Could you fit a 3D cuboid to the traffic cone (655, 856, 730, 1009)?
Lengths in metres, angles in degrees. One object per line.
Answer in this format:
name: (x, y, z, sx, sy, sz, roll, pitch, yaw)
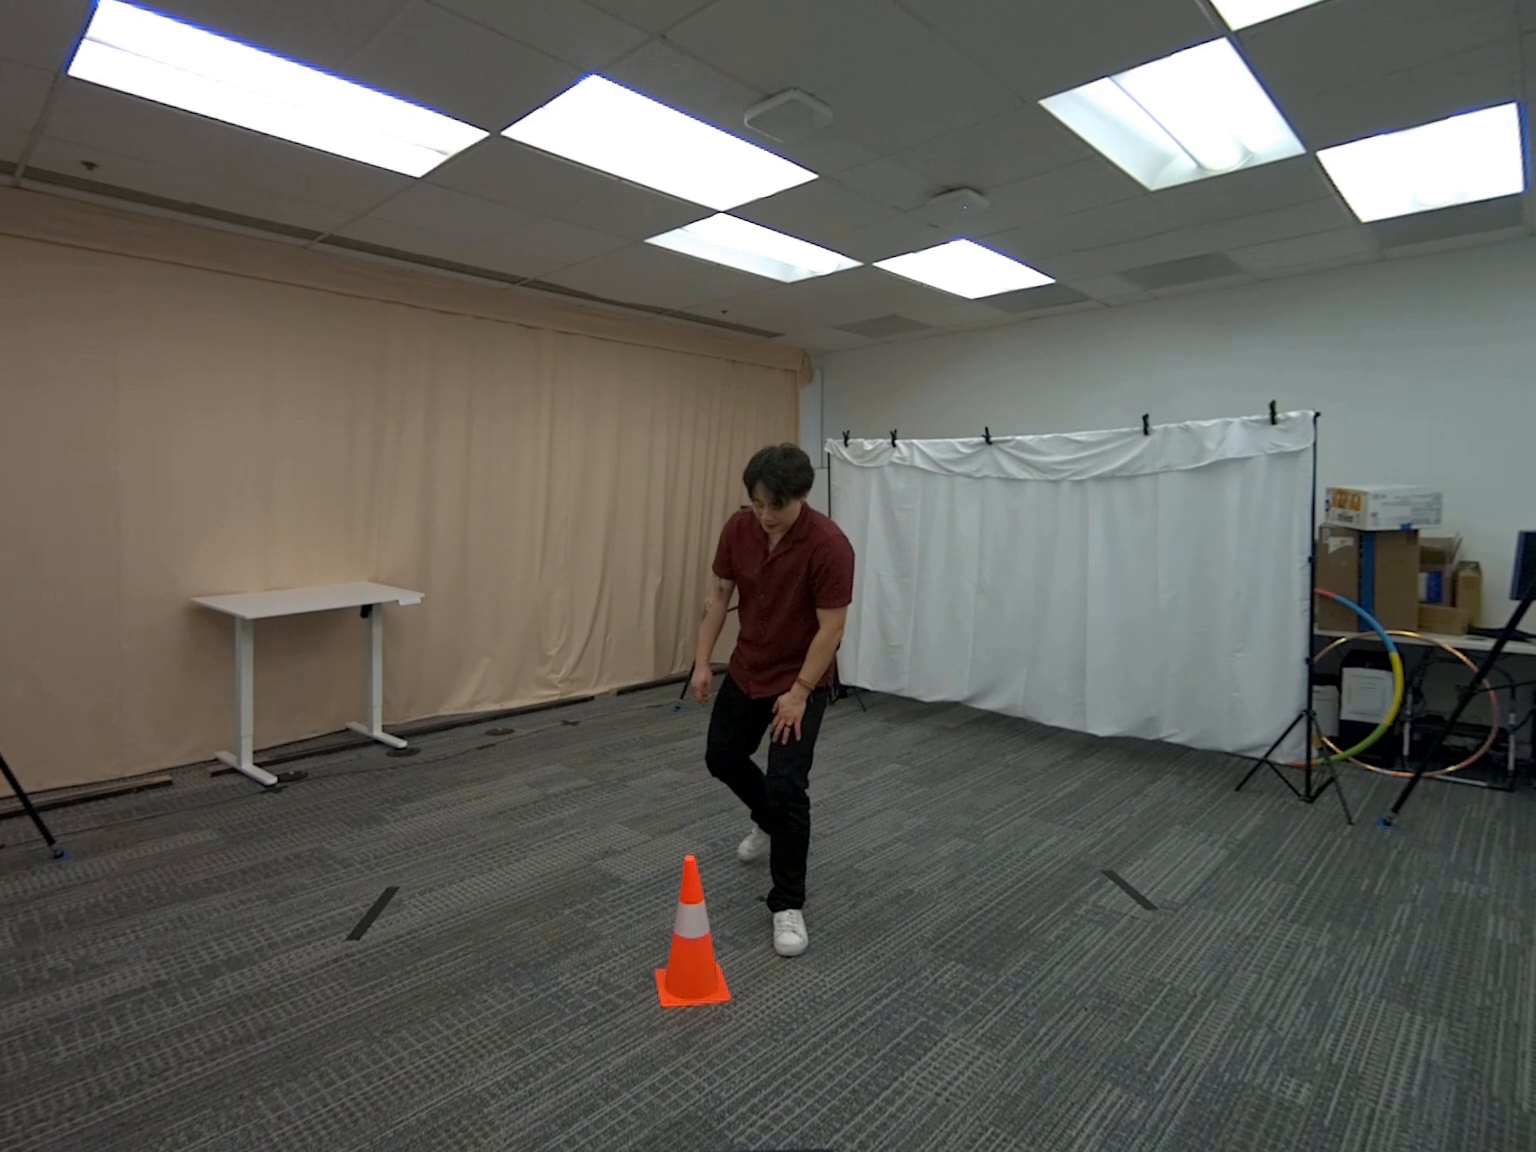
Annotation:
traffic cone: (-0.220, 1.012, 2.419, 0.201, 0.382, 0.208, -2, 7, -10)
